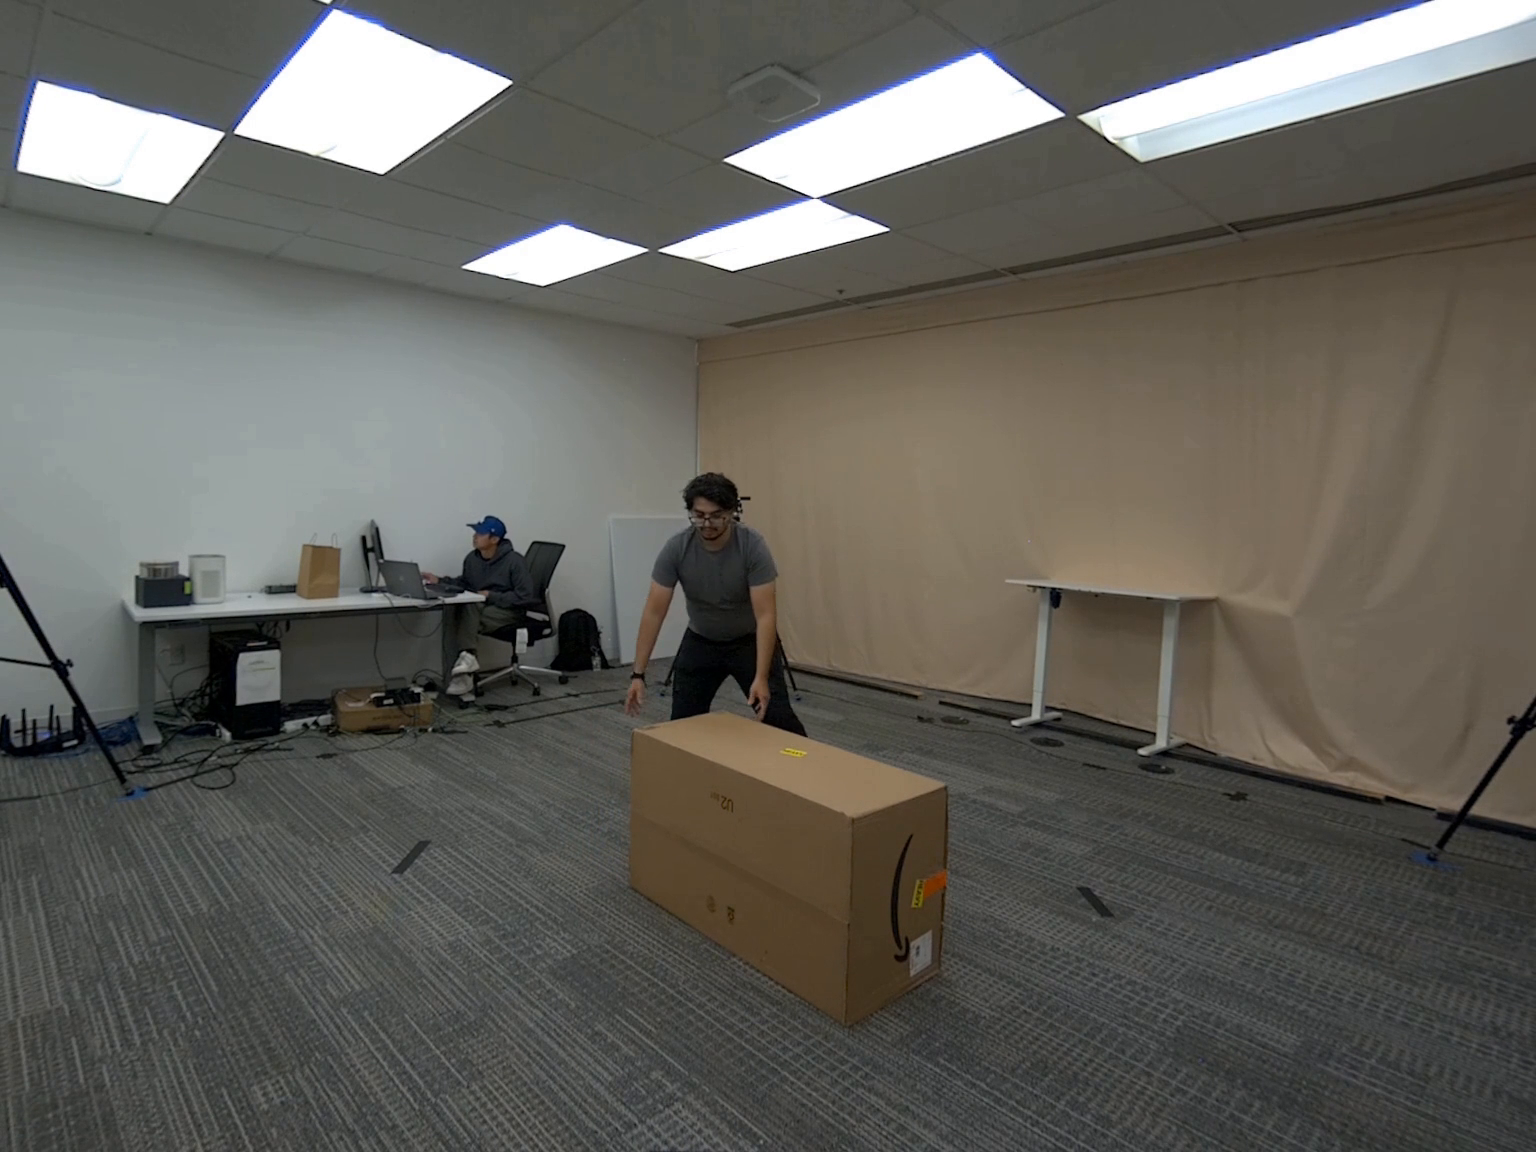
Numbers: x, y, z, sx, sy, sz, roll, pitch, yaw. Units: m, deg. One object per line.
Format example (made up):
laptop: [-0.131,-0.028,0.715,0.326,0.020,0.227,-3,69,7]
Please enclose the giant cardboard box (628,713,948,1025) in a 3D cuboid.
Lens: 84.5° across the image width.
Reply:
giant cardboard box: [0.016,0.862,2.723,0.416,0.576,1.052,-3,6,-42]
